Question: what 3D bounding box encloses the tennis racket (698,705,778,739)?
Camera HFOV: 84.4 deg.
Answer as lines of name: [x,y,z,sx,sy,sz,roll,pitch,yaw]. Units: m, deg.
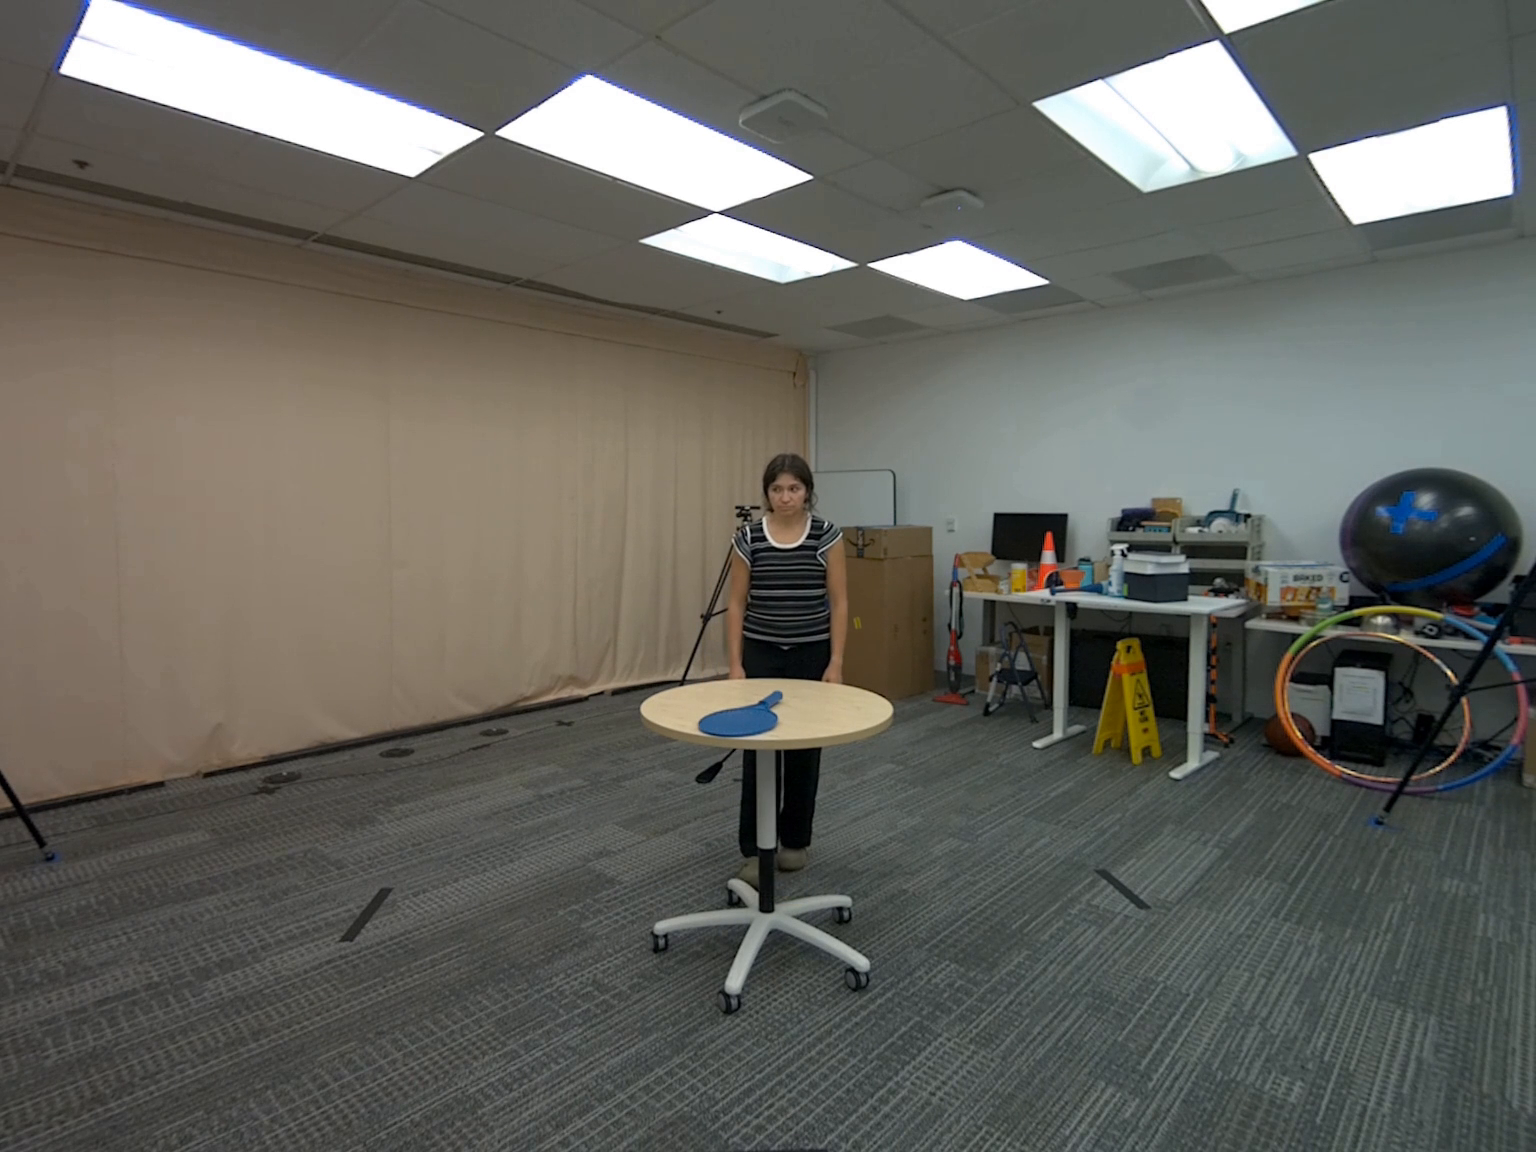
tennis racket: [-0.047,0.399,2.420,0.218,0.031,0.425,2,8,20]
